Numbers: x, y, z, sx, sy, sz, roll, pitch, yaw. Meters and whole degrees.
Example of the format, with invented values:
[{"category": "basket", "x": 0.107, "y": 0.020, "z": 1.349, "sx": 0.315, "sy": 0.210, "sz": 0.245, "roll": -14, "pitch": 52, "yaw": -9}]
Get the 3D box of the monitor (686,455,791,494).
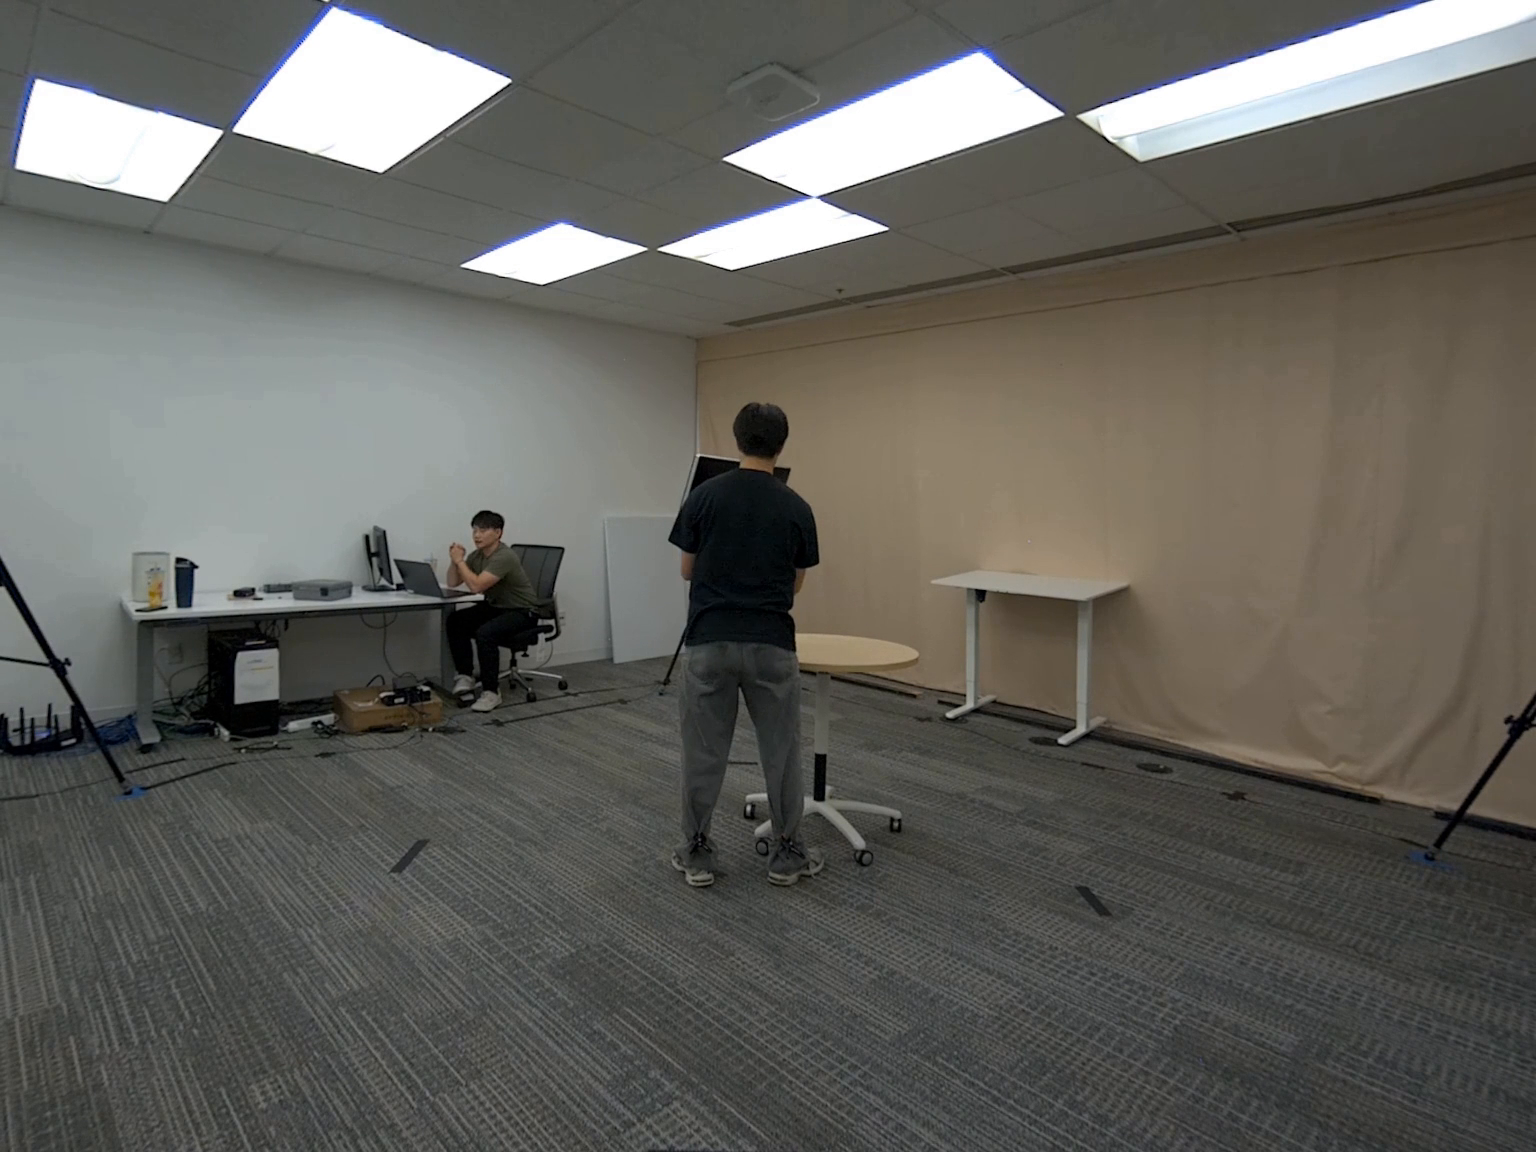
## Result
[{"category": "monitor", "x": -0.125, "y": -0.184, "z": 3.419, "sx": 0.228, "sy": 0.565, "sz": 0.548, "roll": 8, "pitch": 5, "yaw": 44}]
